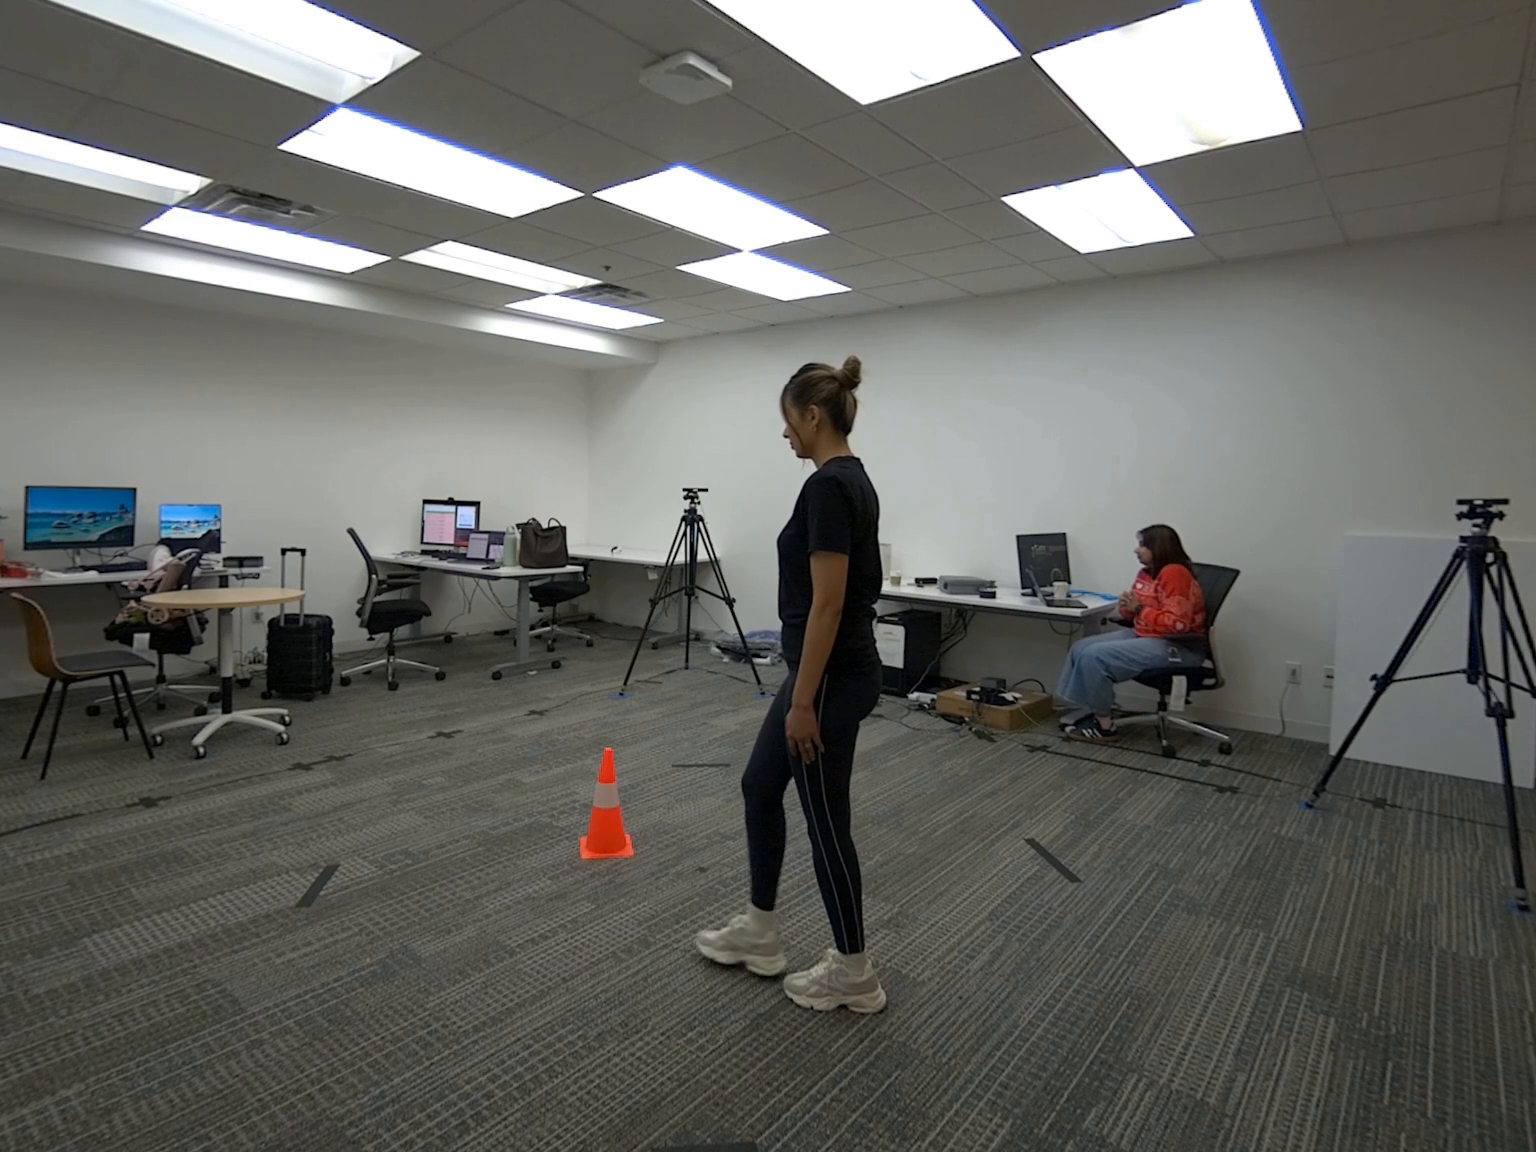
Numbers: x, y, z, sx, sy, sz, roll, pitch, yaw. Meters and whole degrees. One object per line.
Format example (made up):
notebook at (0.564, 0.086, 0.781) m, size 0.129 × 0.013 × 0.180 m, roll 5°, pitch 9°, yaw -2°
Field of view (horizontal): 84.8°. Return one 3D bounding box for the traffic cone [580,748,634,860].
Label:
traffic cone at (-0.637, 0.858, 3.280) m, size 0.201 × 0.382 × 0.209 m, roll 0°, pitch 5°, yaw -14°
